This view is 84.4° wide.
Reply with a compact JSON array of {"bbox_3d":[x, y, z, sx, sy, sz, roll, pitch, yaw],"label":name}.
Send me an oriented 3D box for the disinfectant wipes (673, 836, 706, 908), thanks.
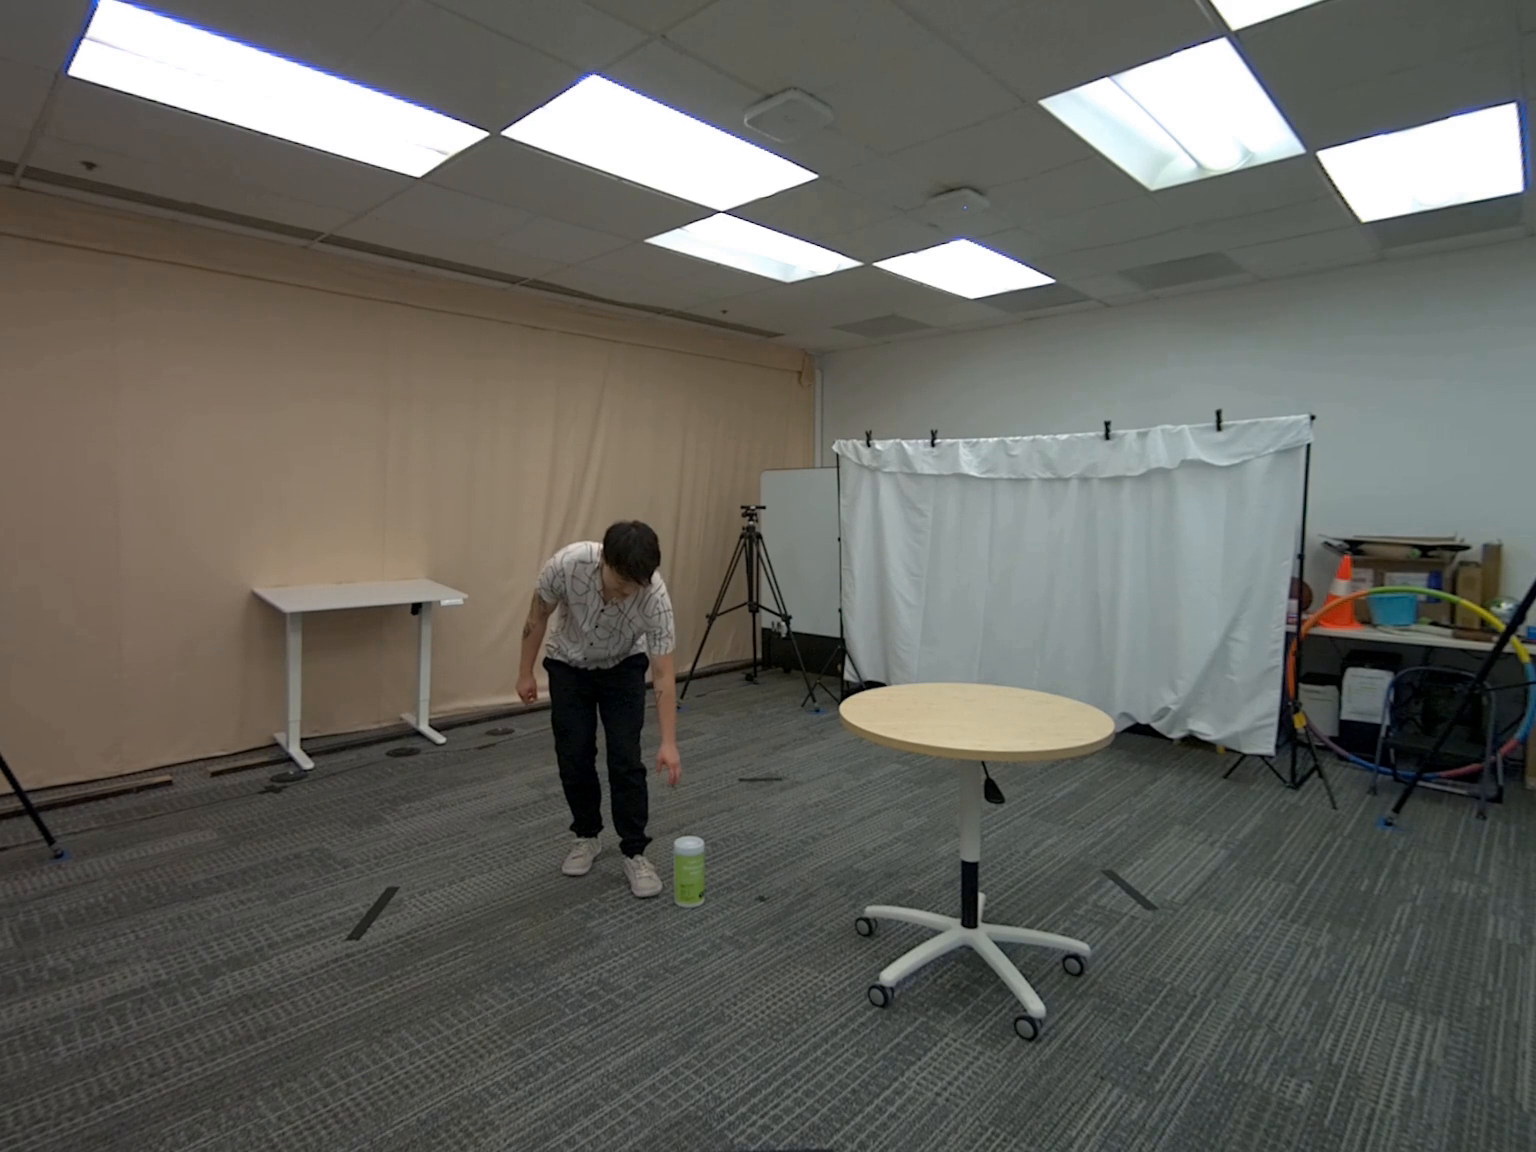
[{"bbox_3d":[-0.279,1.041,2.959,0.118,0.217,0.118,1,3,-2],"label":"disinfectant wipes"}]
